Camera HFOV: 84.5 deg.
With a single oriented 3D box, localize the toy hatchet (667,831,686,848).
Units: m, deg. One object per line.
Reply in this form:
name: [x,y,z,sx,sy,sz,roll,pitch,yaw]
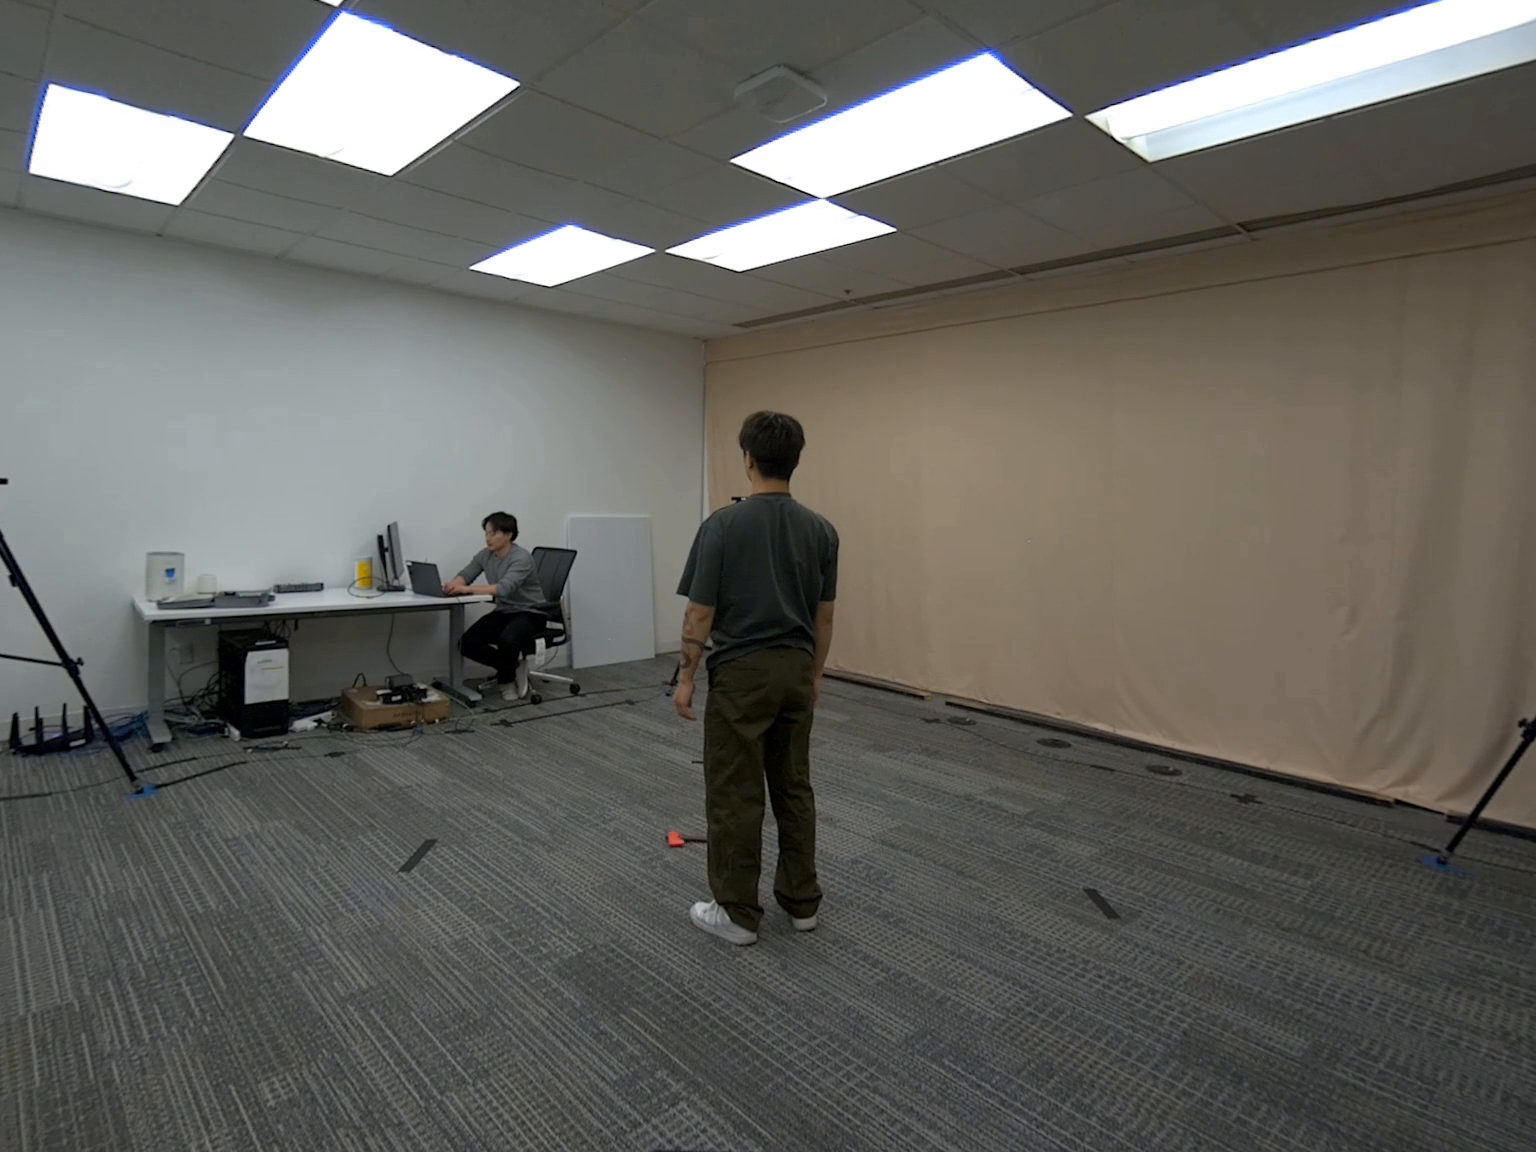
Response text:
toy hatchet: [-0.290,1.067,3.367,0.274,0.029,0.129,4,4,20]
